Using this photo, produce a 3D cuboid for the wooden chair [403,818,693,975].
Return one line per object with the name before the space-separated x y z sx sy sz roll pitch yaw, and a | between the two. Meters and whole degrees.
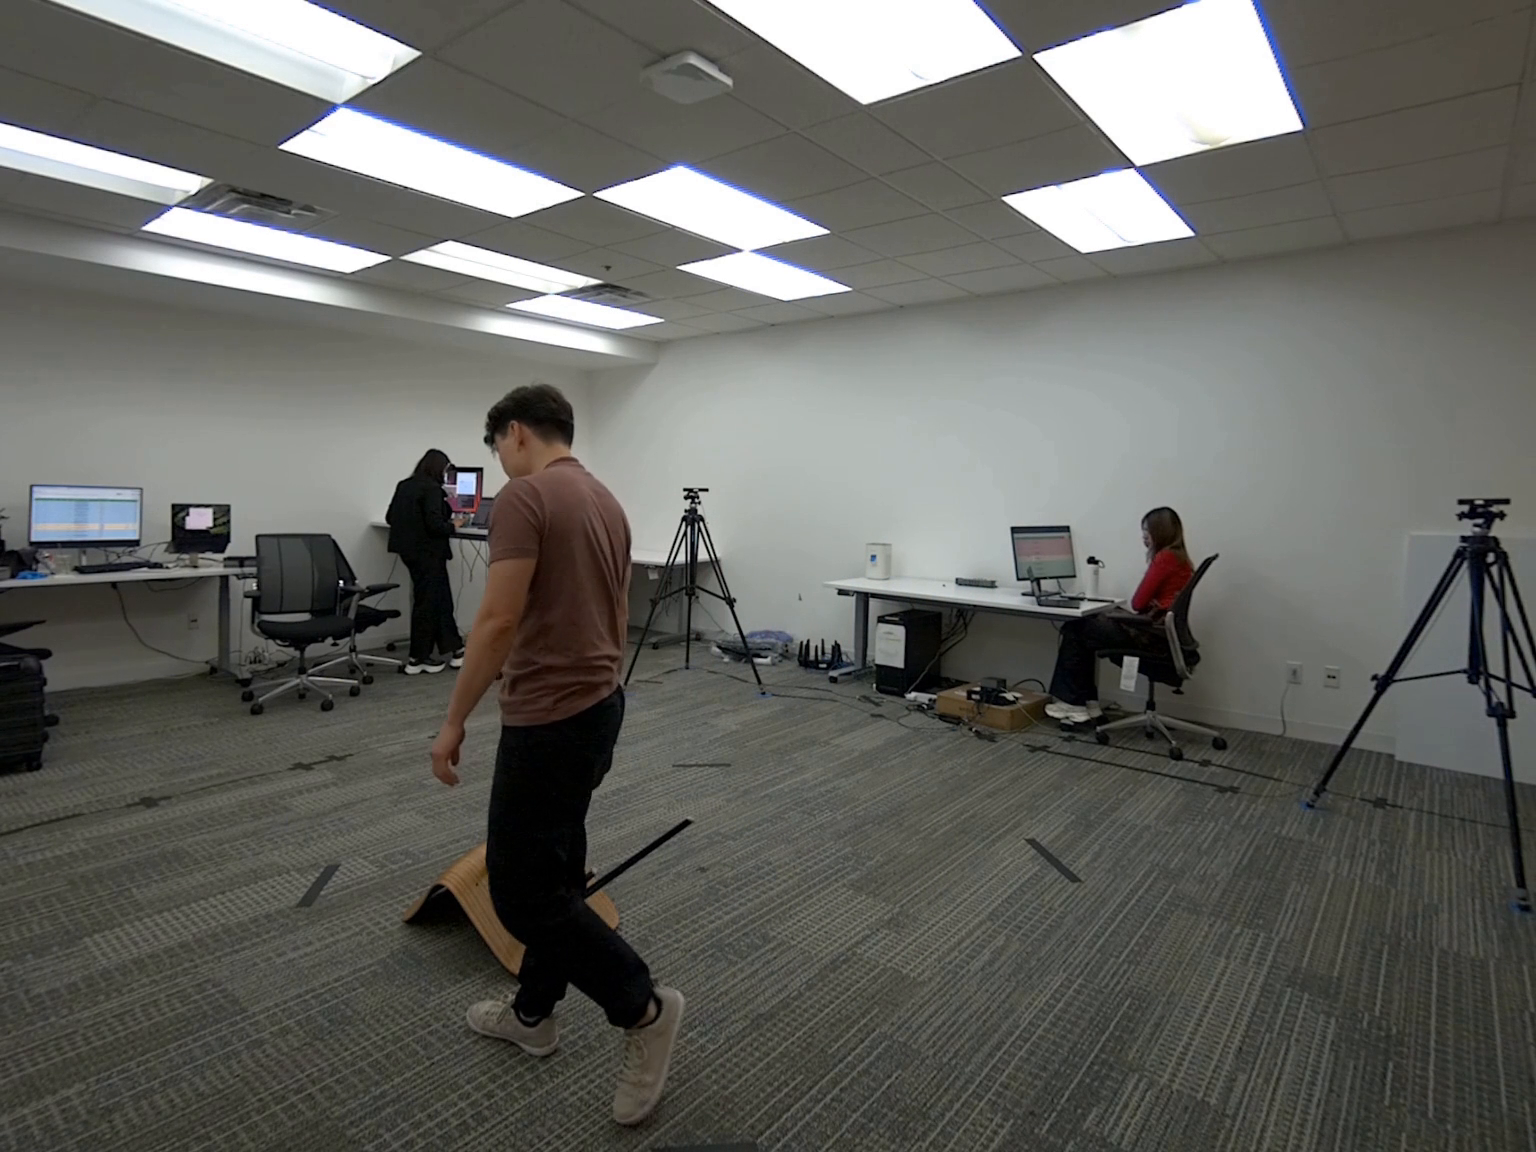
wooden chair | -0.718 0.938 2.618 0.538 0.875 0.466 47 24 20
